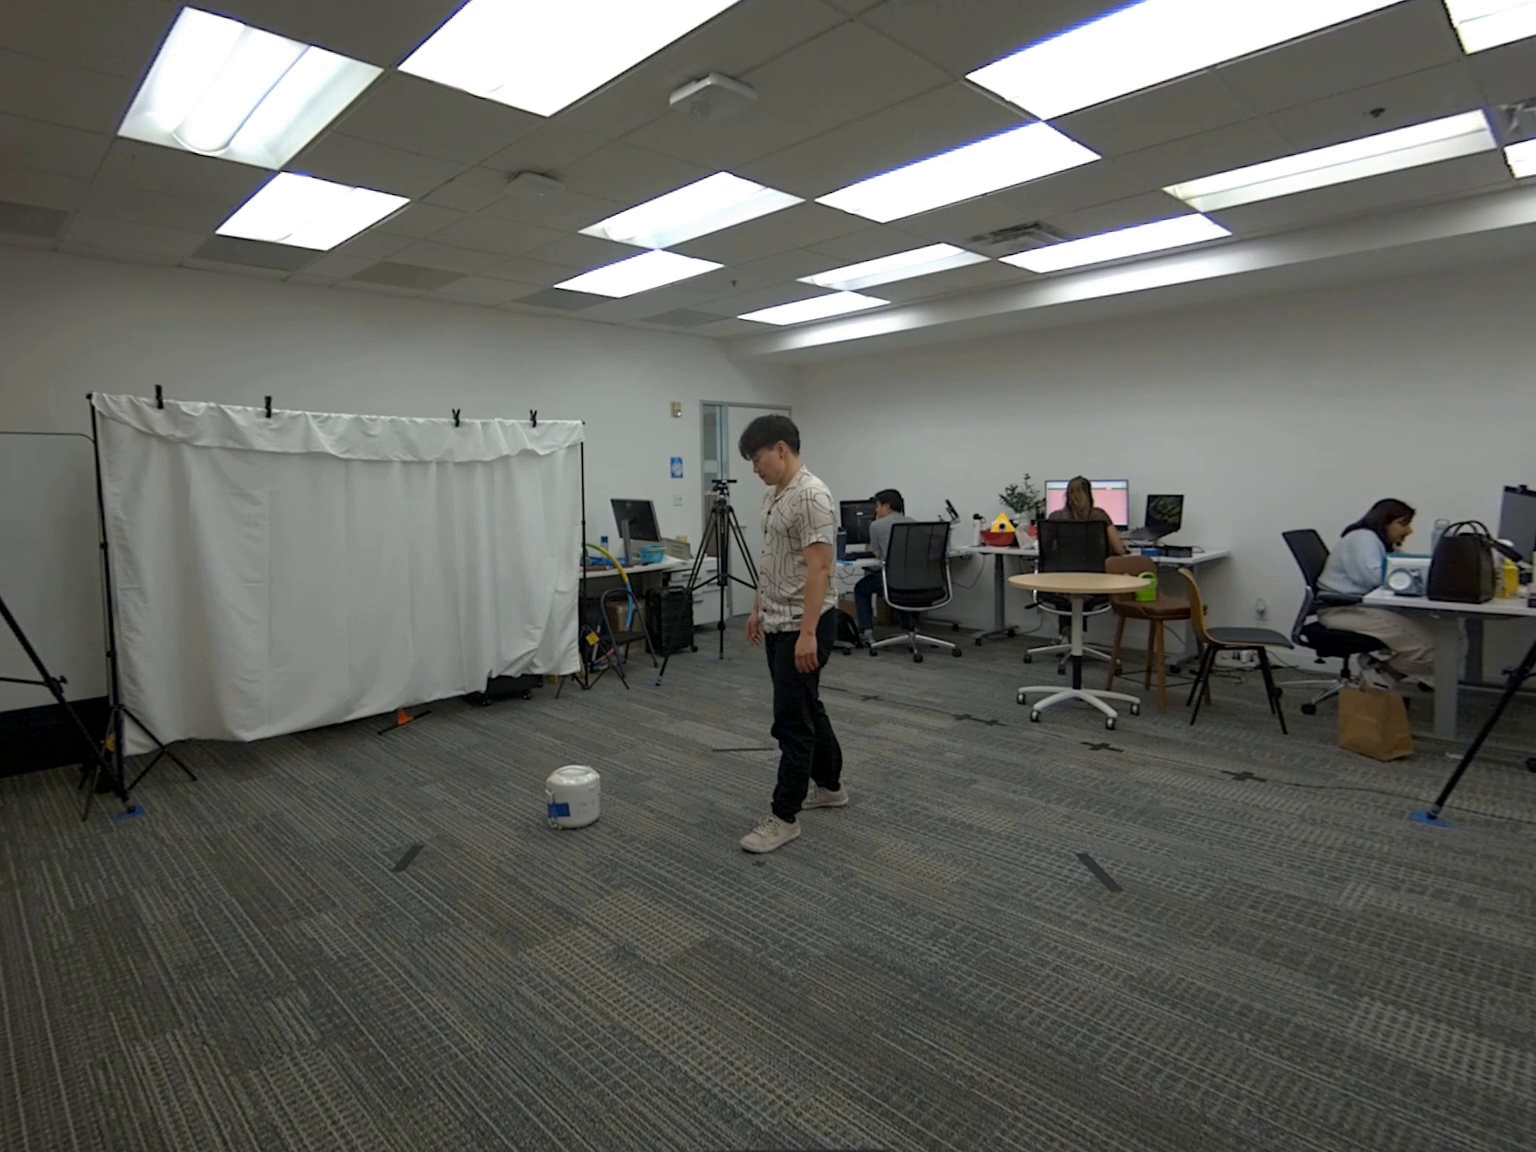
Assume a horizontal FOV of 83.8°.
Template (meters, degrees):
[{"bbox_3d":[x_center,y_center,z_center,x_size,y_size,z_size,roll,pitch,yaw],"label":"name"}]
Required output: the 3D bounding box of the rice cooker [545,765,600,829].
[{"bbox_3d":[-0.801,0.898,3.534,0.220,0.232,0.219,-1,5,-3],"label":"rice cooker"}]
